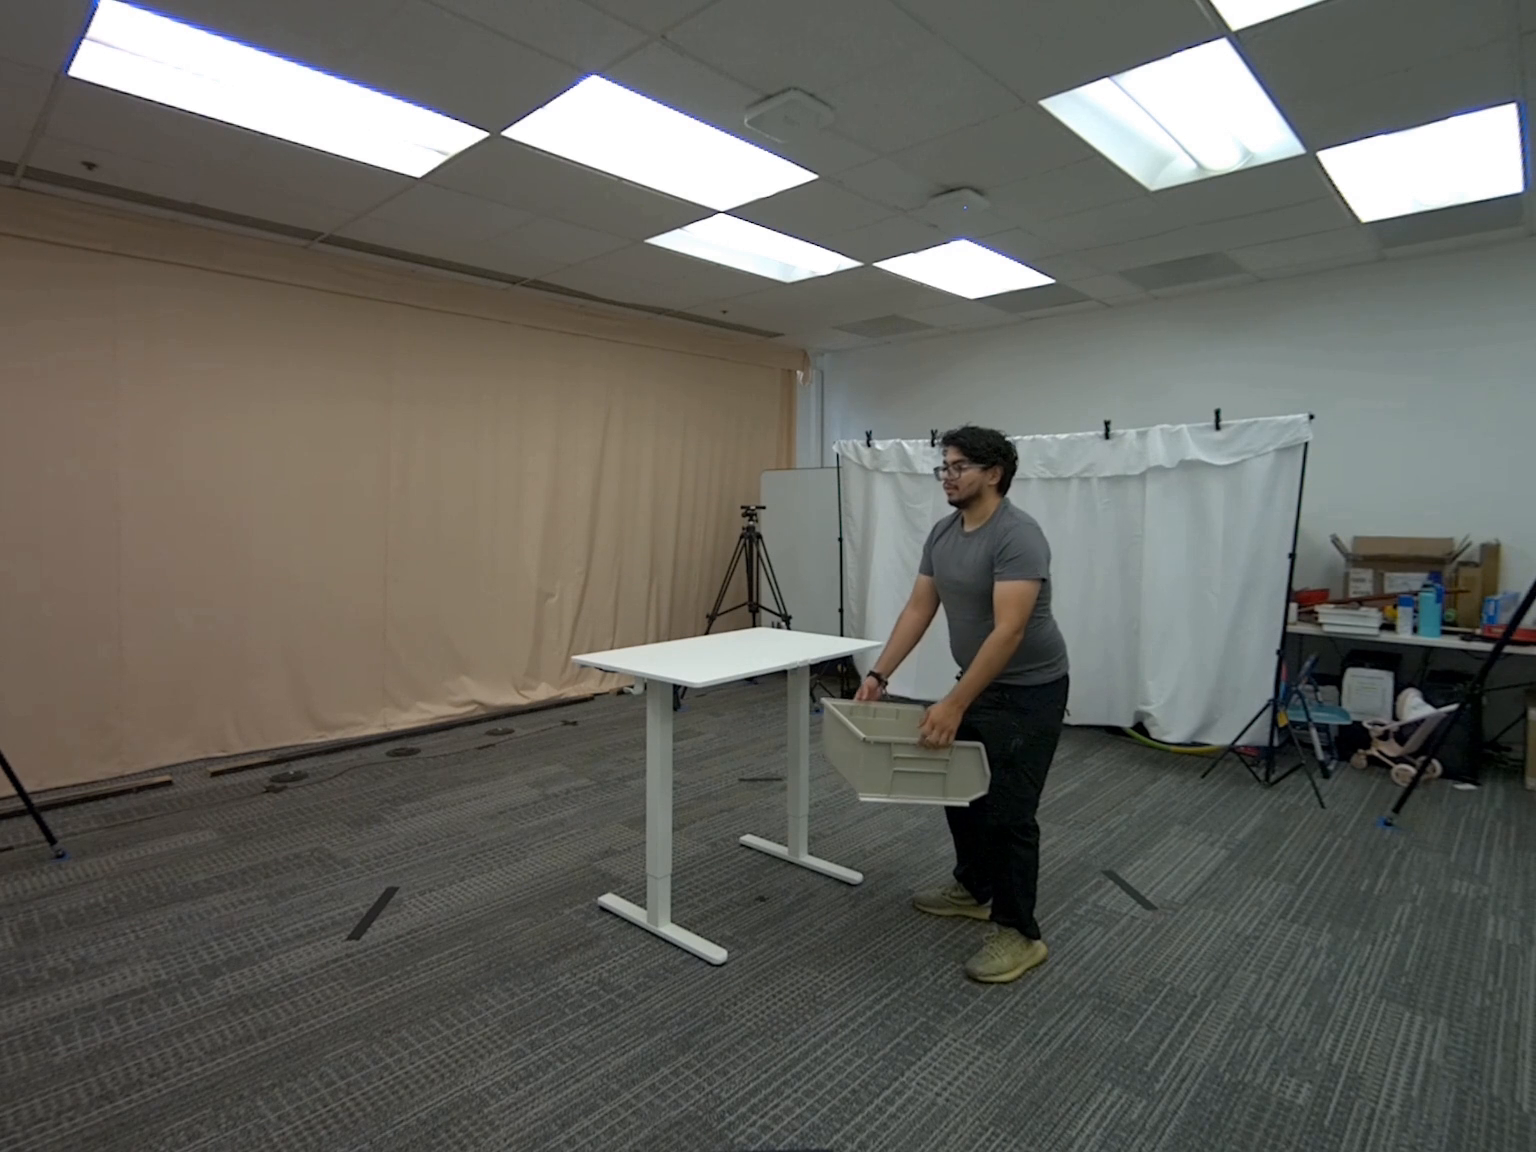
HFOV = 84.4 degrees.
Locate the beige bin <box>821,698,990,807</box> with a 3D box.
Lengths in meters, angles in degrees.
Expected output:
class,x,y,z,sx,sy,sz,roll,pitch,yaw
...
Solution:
class,x,y,z,sx,sy,sz,roll,pitch,yaw
beige bin,0.392,0.505,2.468,0.373,0.189,0.427,1,3,-11
